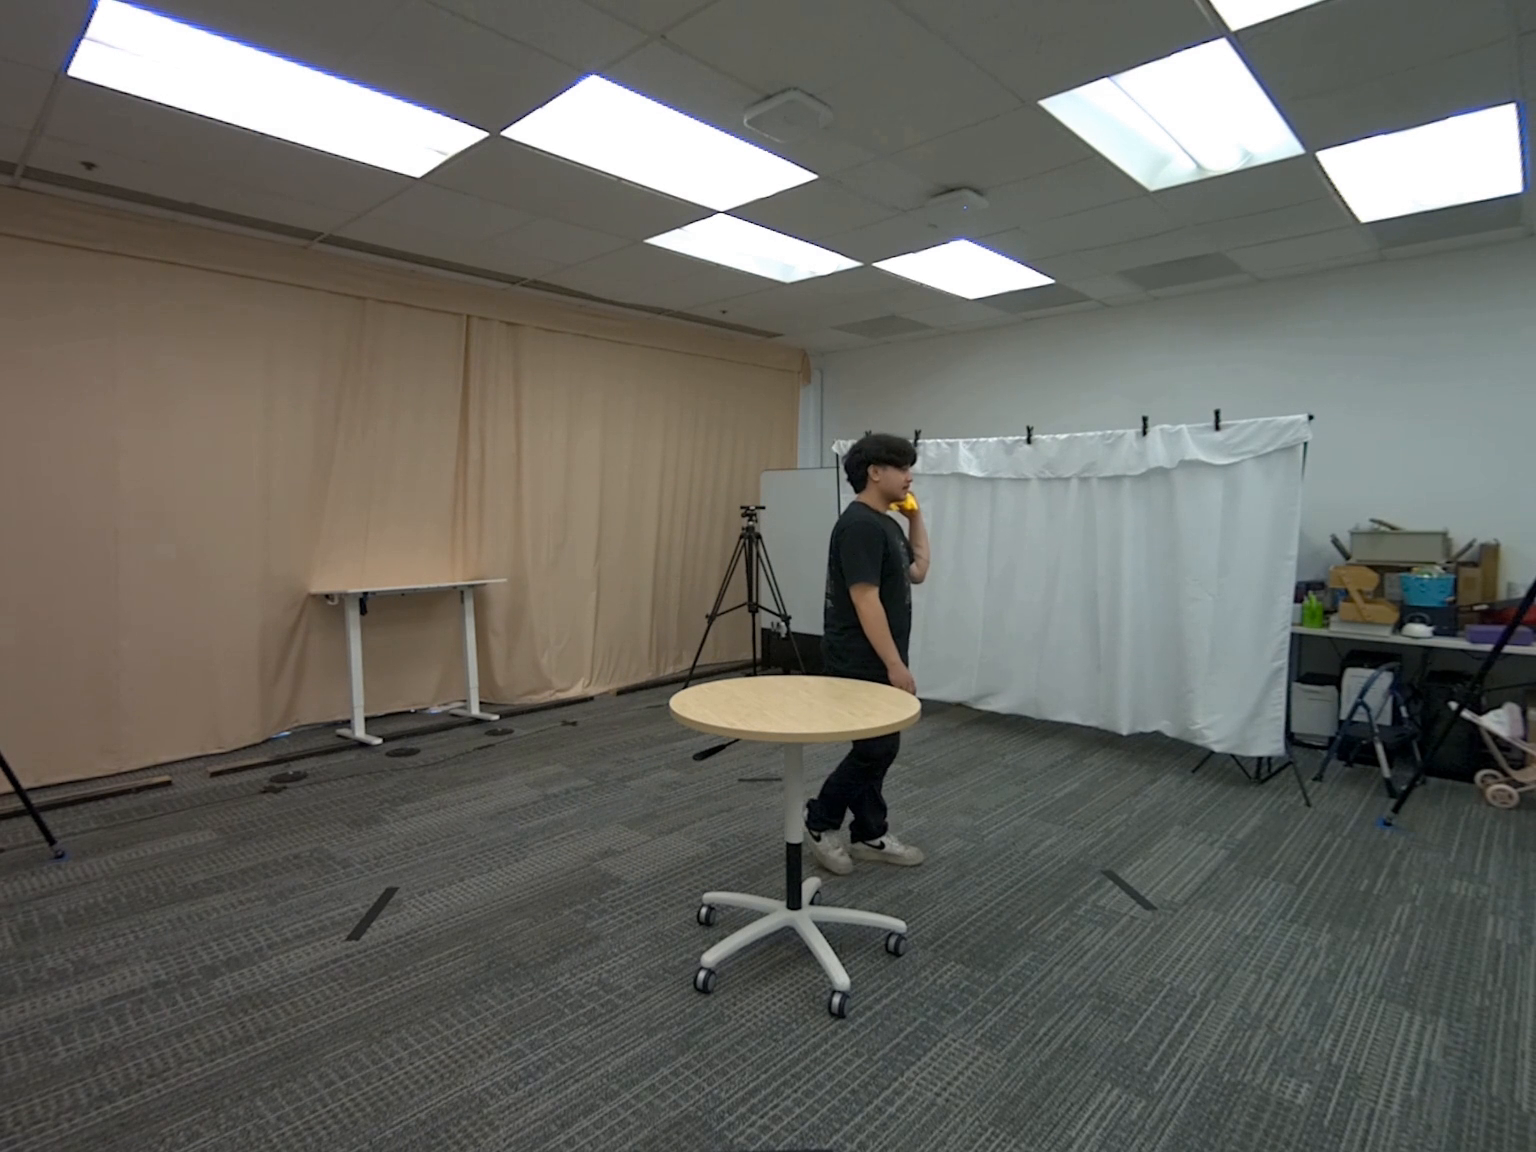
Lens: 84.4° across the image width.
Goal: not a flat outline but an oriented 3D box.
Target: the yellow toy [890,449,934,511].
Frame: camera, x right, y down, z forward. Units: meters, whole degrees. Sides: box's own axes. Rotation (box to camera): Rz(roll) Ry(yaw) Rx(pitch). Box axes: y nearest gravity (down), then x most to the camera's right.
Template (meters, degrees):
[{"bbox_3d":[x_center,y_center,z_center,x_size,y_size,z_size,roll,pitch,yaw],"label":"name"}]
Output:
[{"bbox_3d":[0.508,-0.395,3.395,0.199,0.229,0.200,-5,14,-37],"label":"yellow toy"}]
